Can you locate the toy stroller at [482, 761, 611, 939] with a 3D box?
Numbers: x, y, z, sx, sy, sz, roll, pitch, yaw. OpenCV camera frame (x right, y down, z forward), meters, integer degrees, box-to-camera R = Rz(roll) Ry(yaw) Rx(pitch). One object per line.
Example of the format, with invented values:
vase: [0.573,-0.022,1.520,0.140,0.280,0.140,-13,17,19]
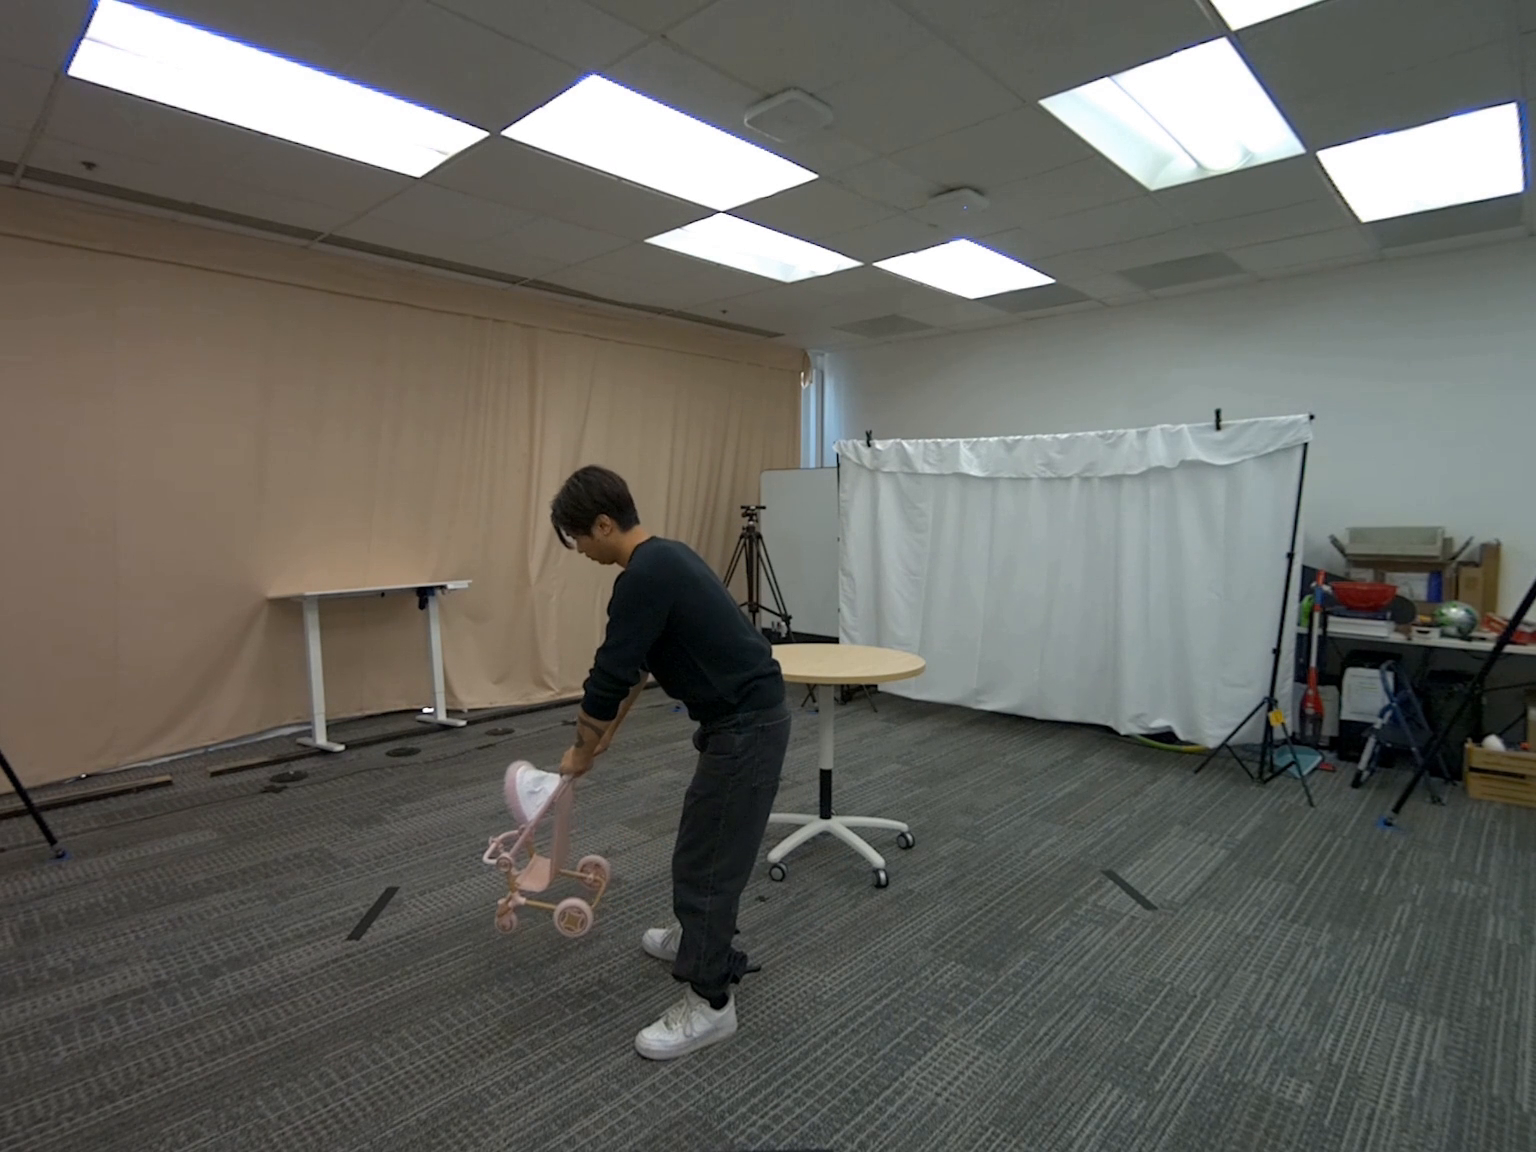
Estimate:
toy stroller: [-0.645,0.762,2.386,0.345,0.533,0.280,-4,6,9]
